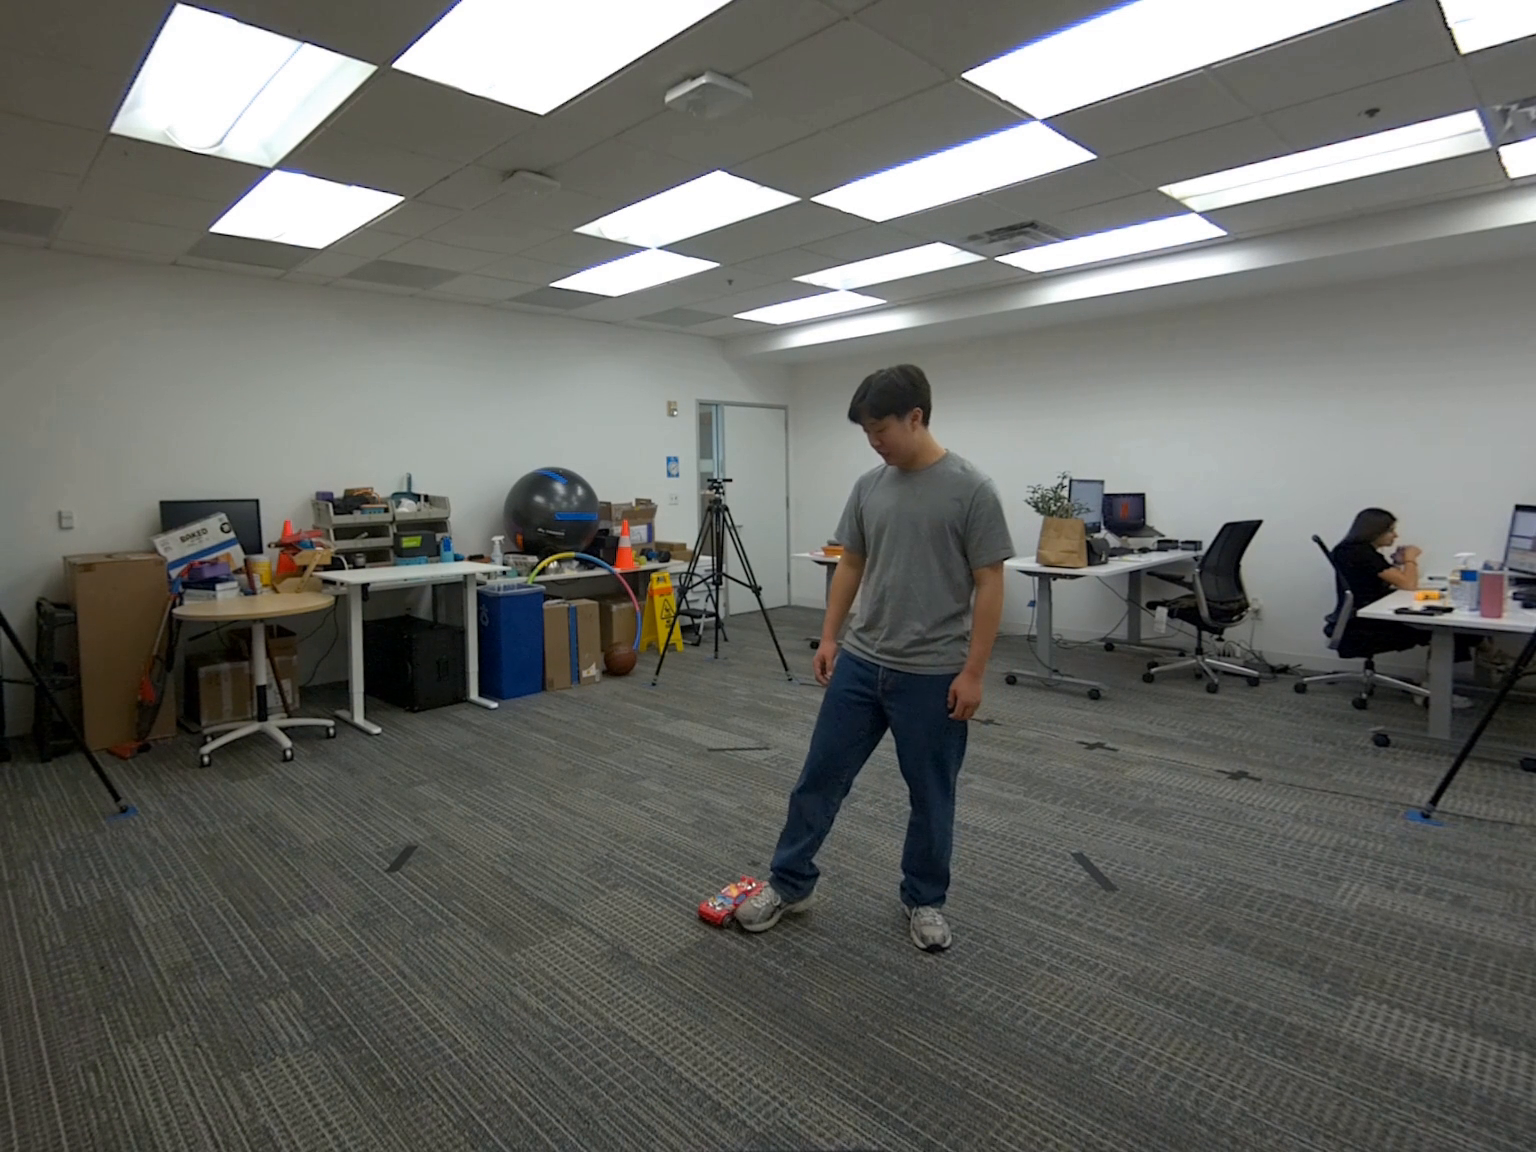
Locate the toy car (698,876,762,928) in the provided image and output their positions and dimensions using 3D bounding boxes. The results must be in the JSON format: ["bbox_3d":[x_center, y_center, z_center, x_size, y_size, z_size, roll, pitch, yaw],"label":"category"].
[{"bbox_3d":[-0.092,1.056,2.755,0.134,0.082,0.250,3,18,41],"label":"toy car"}]
